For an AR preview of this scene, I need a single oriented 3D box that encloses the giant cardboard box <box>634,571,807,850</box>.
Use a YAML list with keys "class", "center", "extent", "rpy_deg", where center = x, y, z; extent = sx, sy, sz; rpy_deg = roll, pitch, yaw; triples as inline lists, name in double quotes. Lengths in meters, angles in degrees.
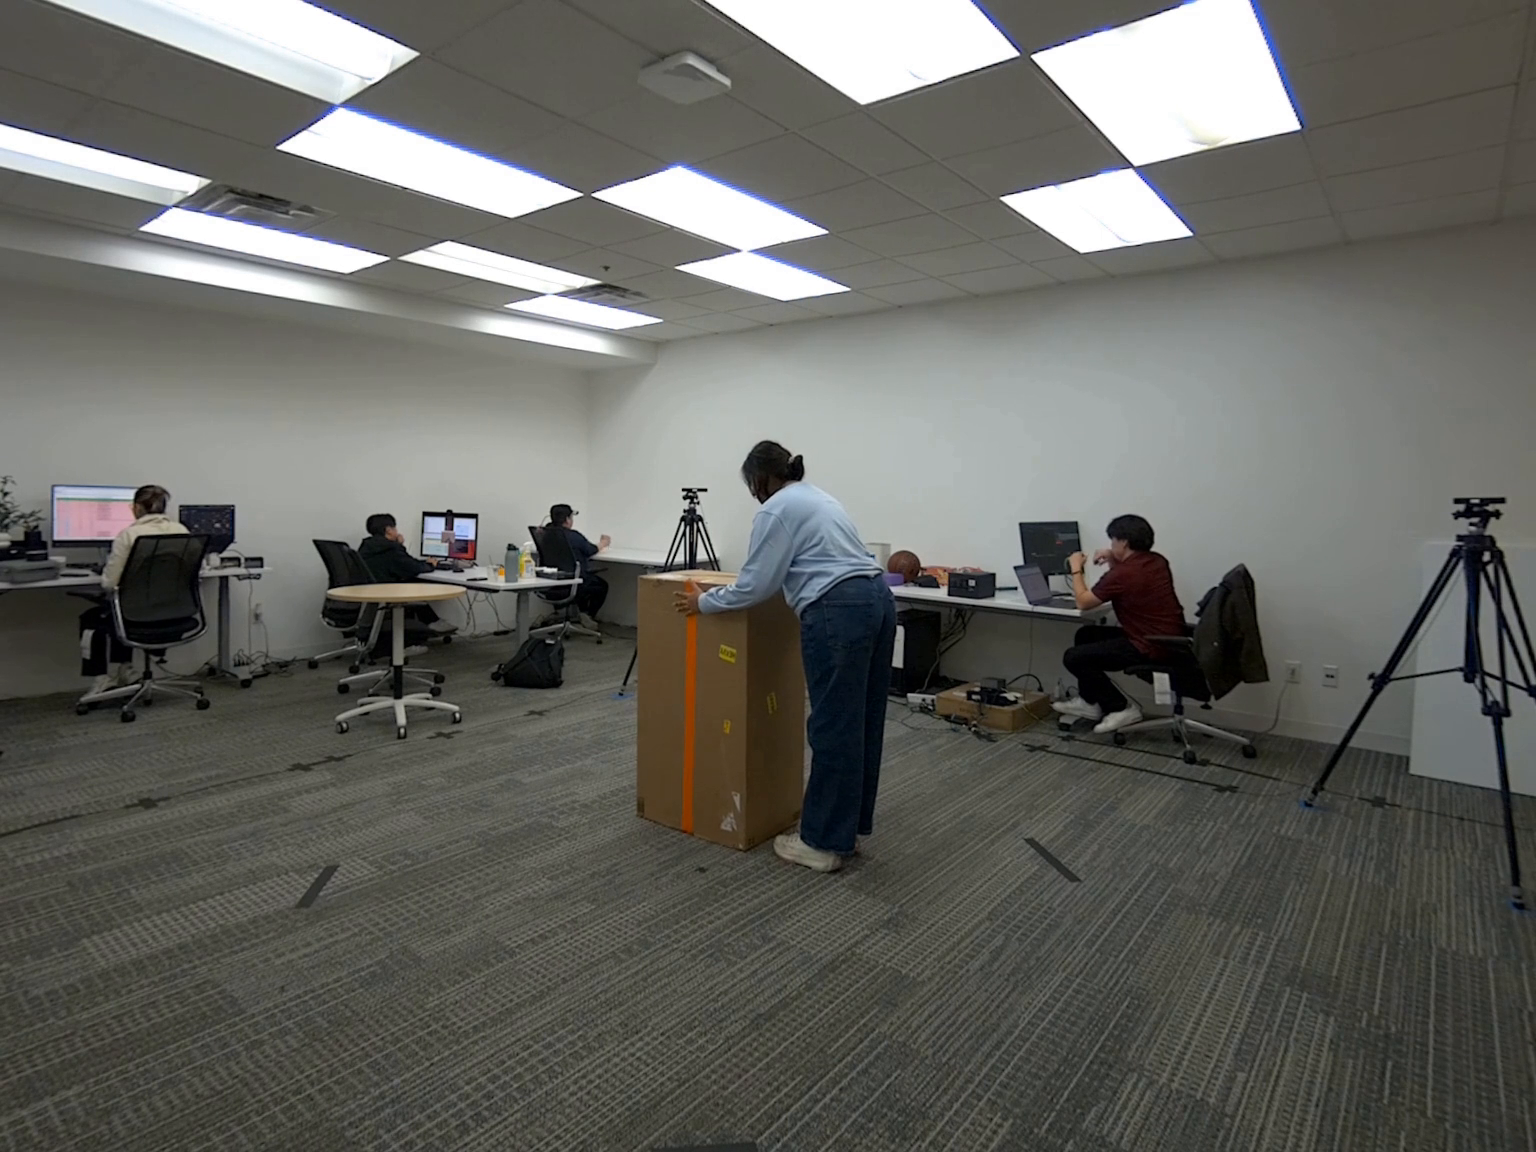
- class: "giant cardboard box"
  center: [-0.215, 0.509, 3.575]
  extent: [0.603, 1.023, 0.434]
  rpy_deg: [3, 5, 37]
